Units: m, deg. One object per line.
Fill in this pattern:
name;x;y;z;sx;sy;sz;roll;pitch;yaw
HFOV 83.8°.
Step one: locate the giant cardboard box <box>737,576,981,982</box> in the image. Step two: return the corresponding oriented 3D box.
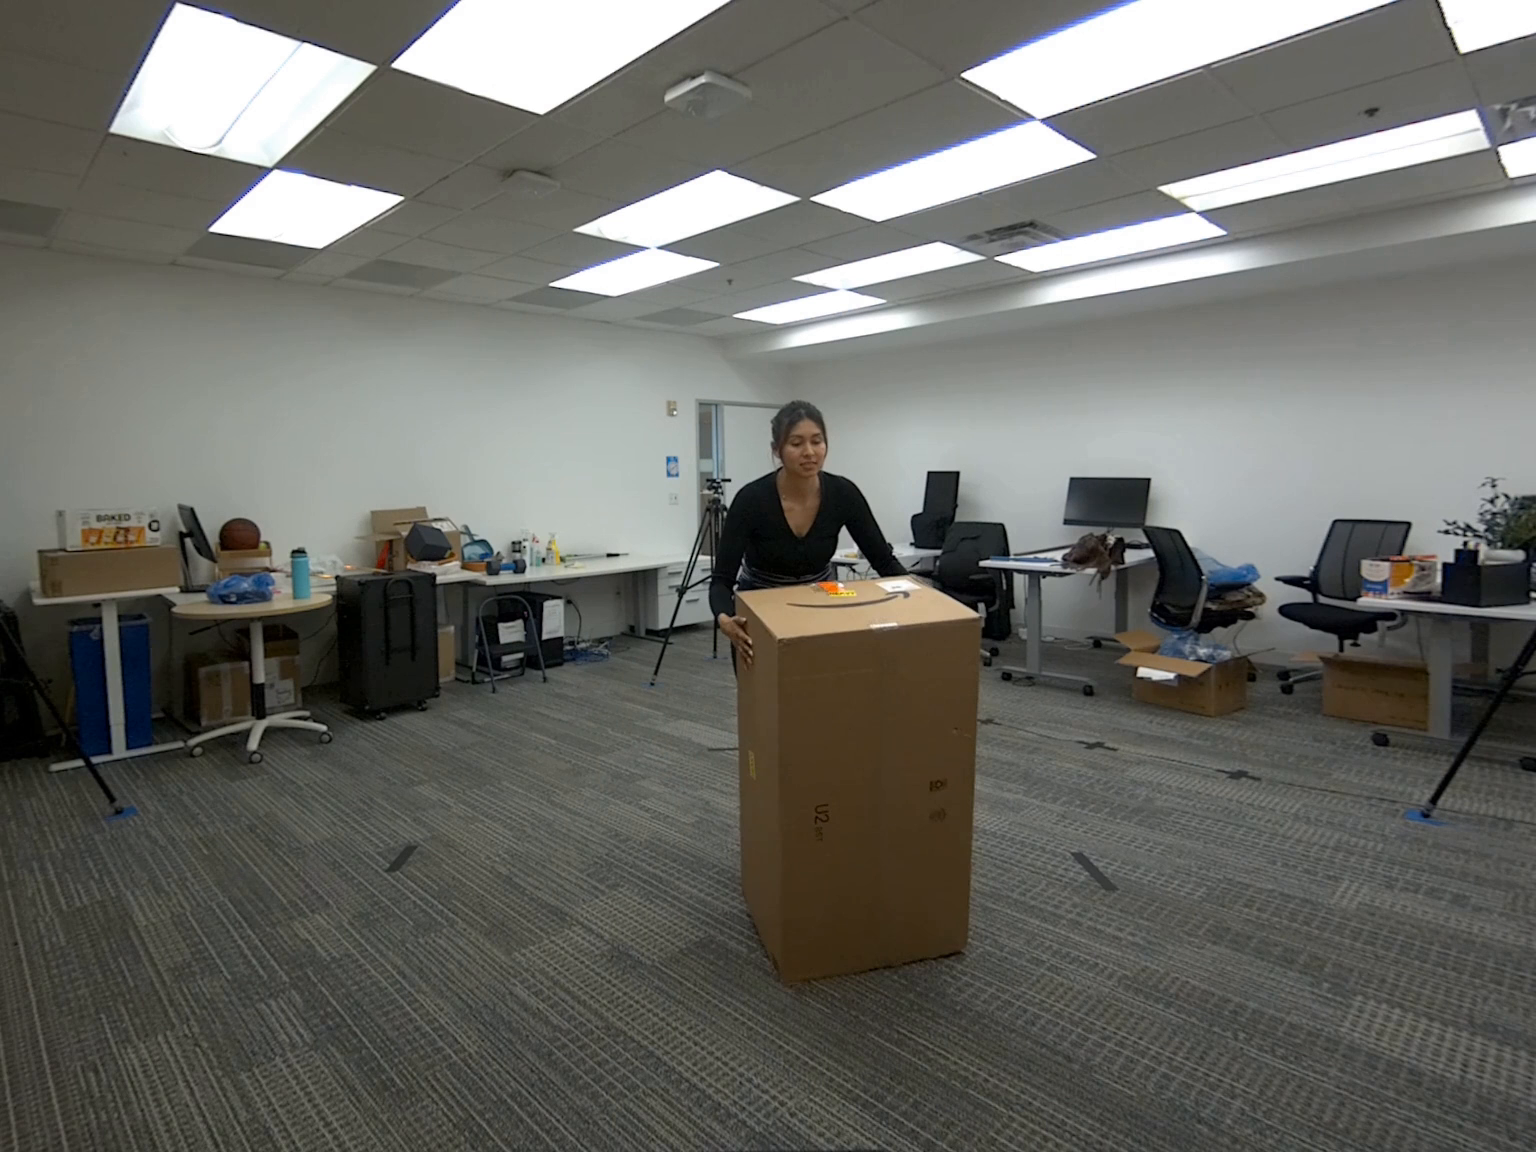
giant cardboard box;0.243;0.556;2.508;0.570;1.013;0.437;-4;14;-14
